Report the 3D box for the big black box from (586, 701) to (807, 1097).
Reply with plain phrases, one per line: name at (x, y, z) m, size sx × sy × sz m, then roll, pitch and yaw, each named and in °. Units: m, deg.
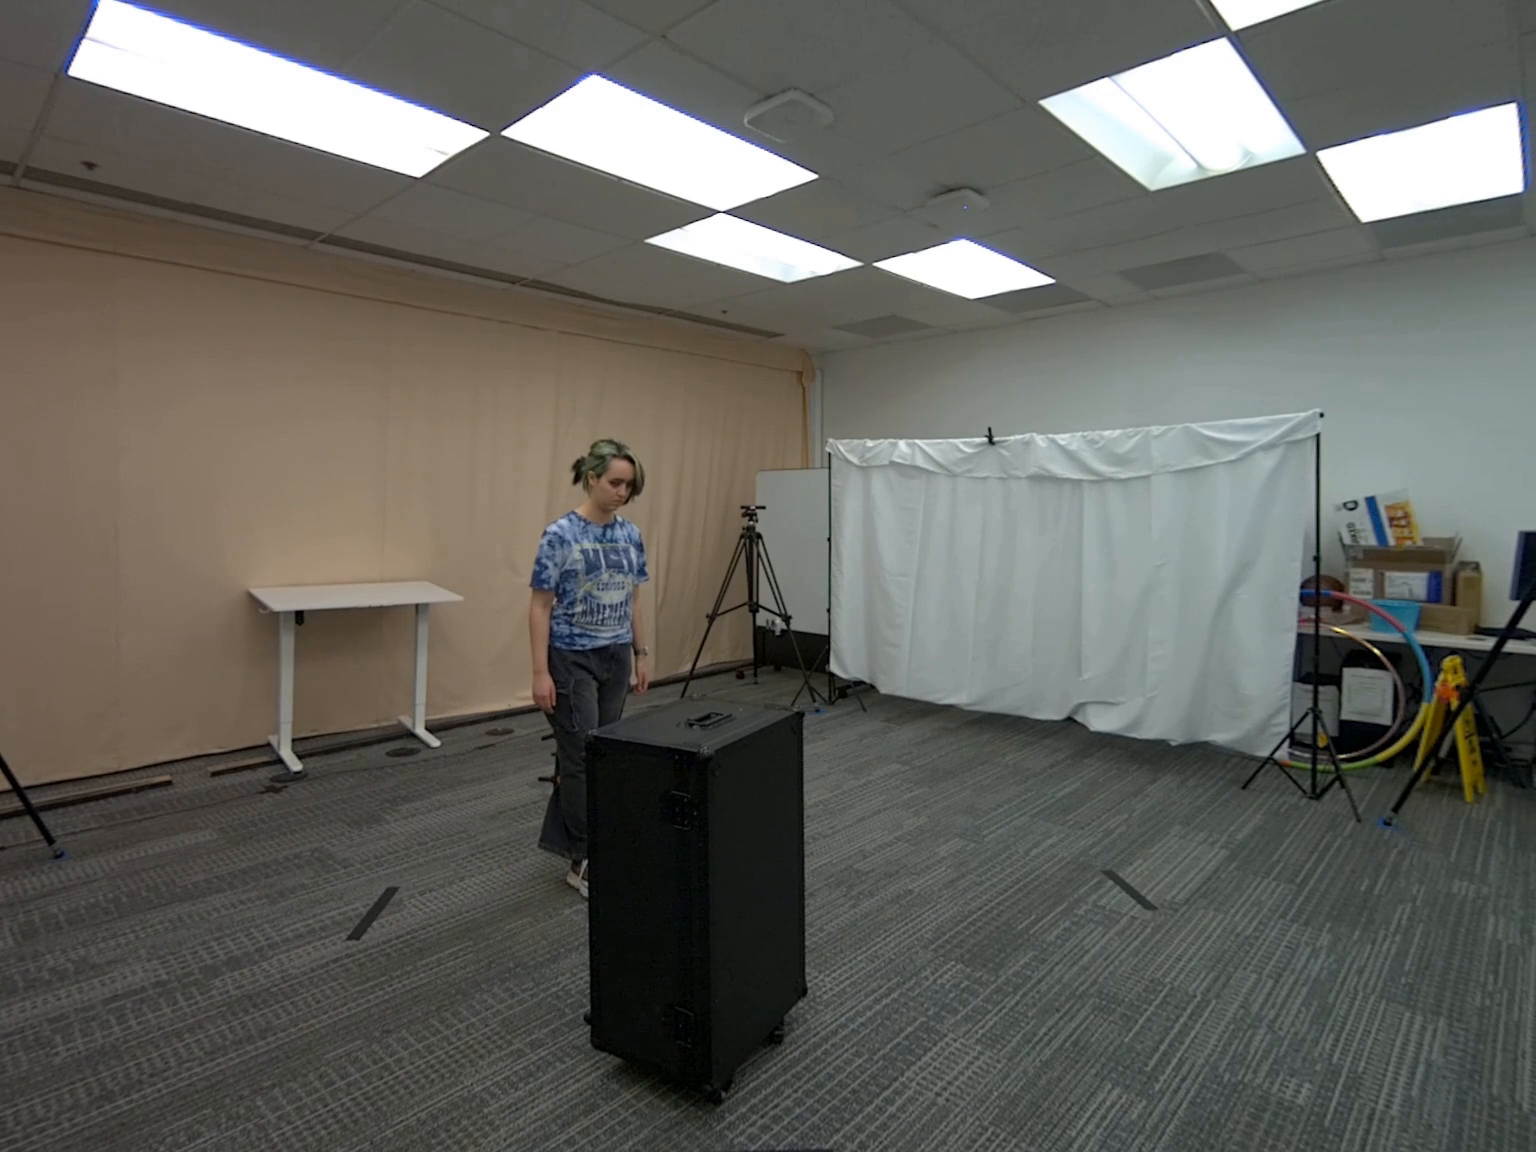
big black box at (-0.178, 0.791, 2.154) m, size 0.408 × 0.860 × 0.507 m, roll 0°, pitch 3°, yaw 31°
